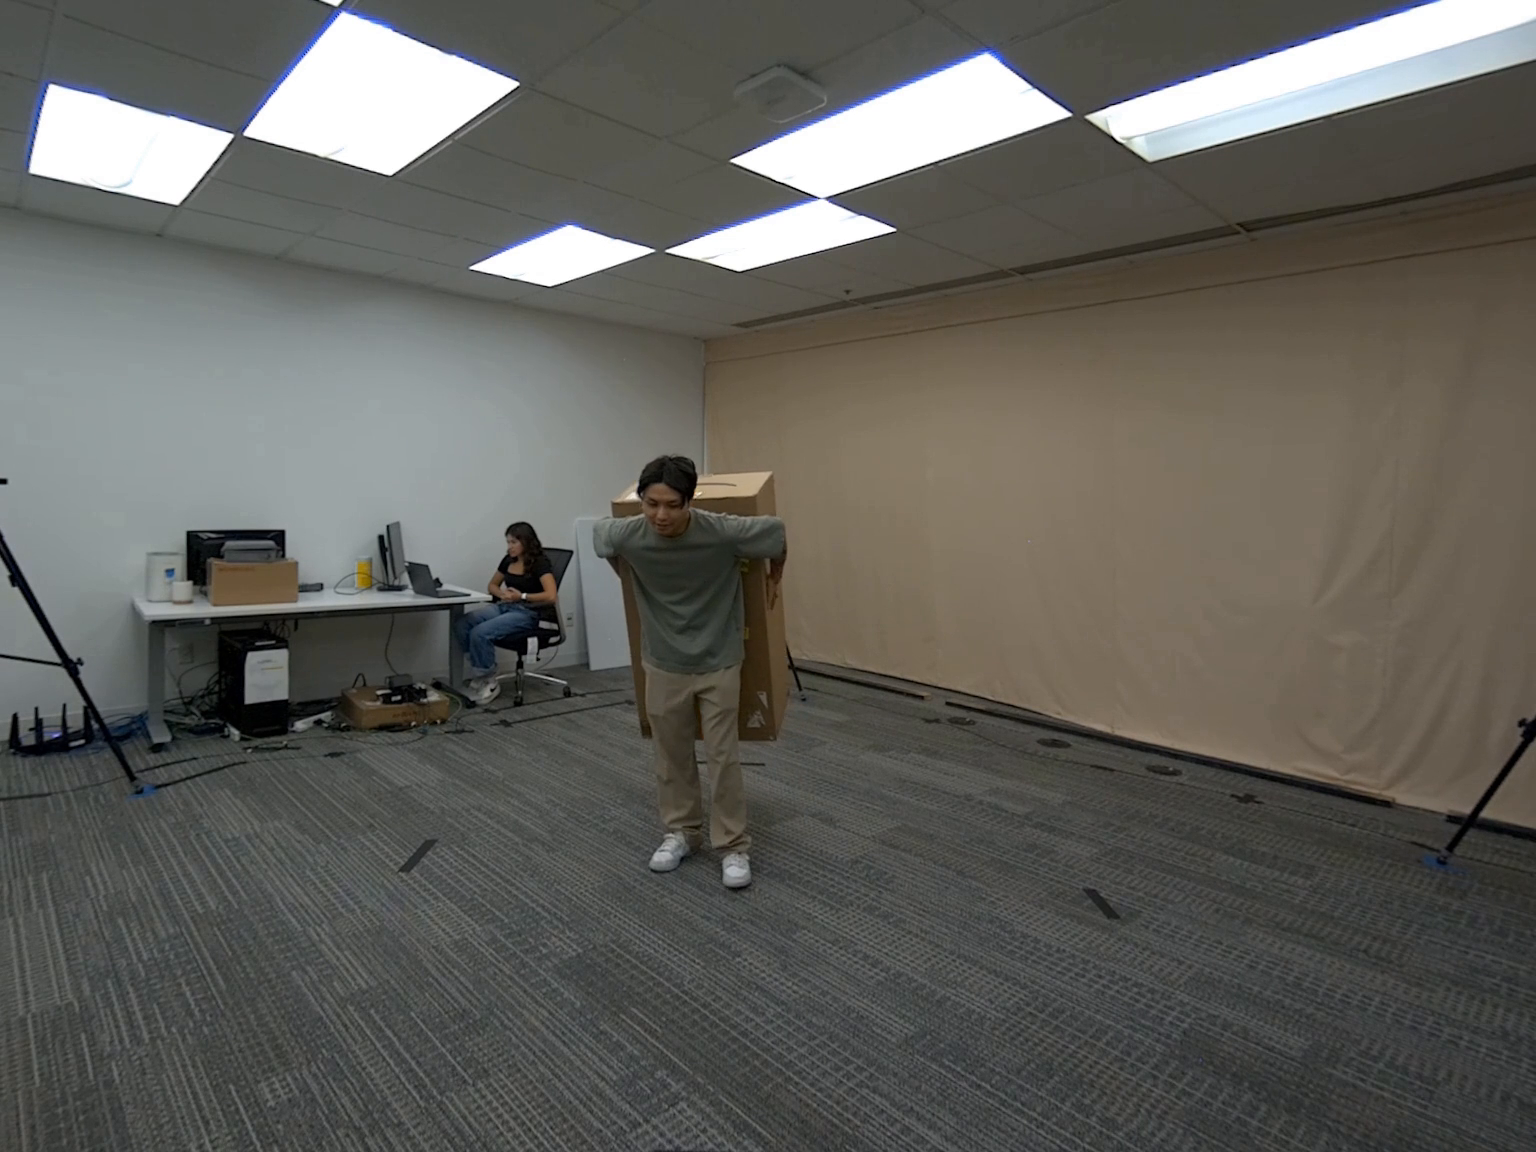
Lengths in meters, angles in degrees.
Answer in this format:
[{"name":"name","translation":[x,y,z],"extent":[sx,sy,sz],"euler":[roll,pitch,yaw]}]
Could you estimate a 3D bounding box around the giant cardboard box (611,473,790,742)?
[{"name":"giant cardboard box","translation":[-0.260,0.126,3.493],"extent":[0.582,1.013,0.428],"euler":[-1,16,11]}]
